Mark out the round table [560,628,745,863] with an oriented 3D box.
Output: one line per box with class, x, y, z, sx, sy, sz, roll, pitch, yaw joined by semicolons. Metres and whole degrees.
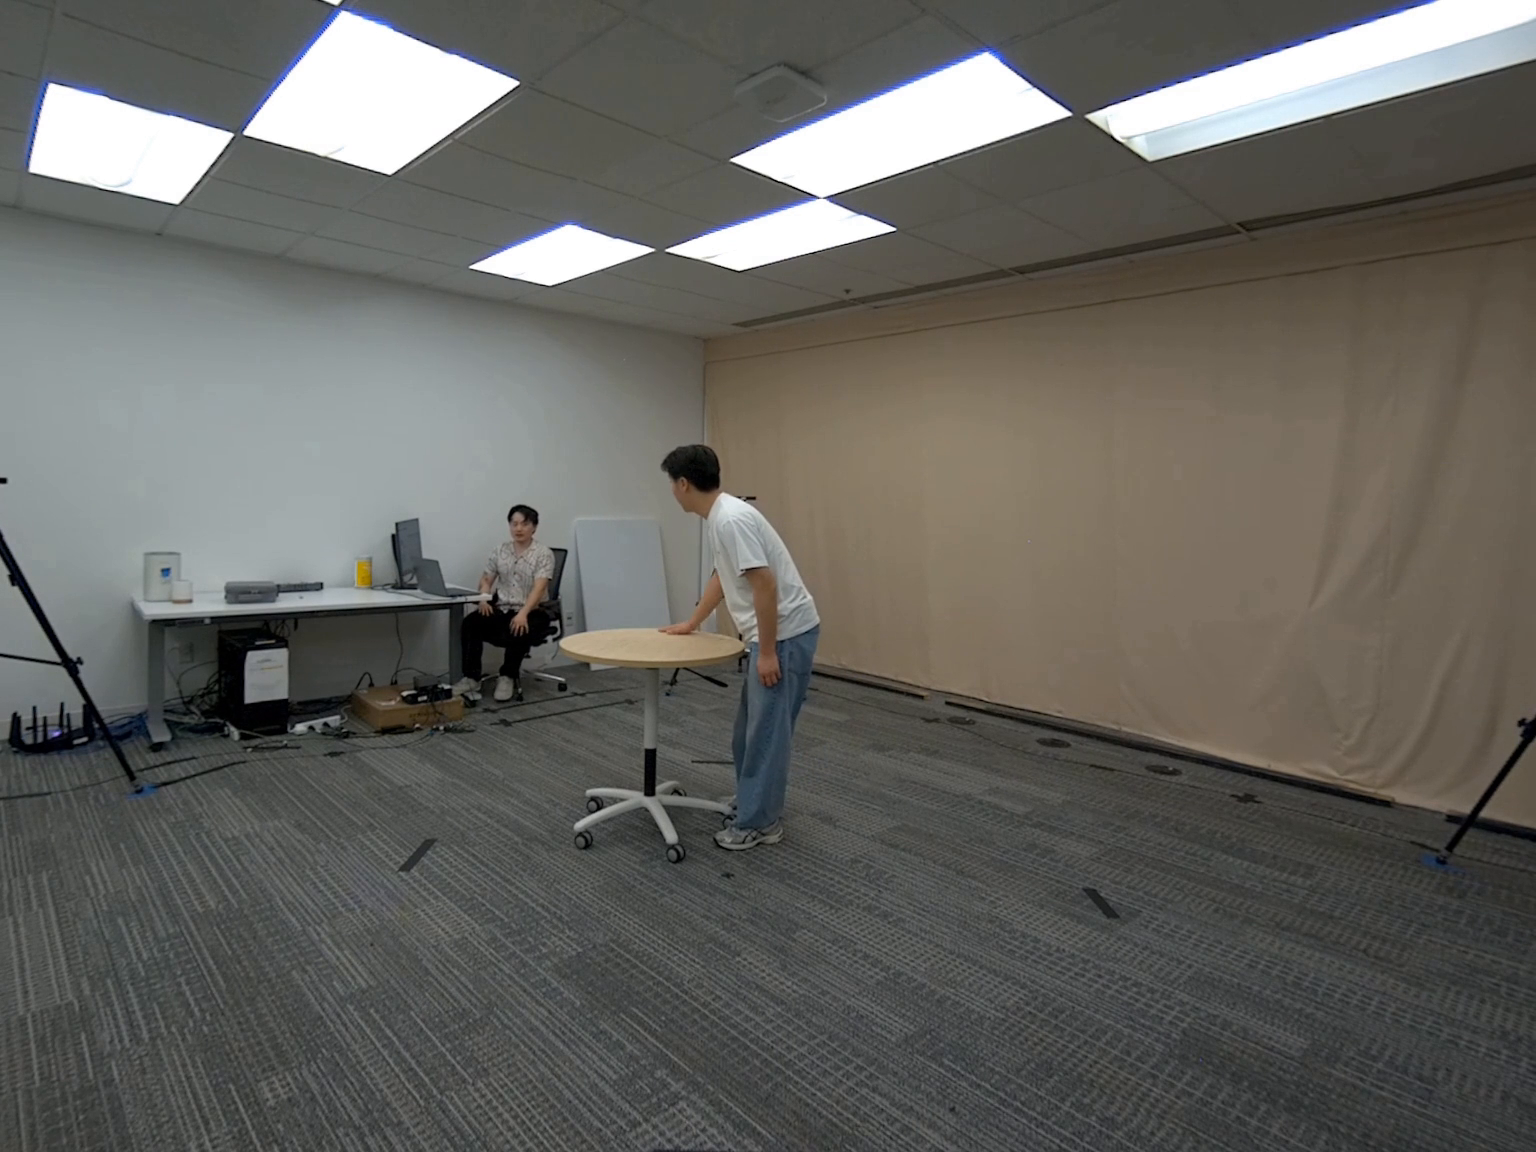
round table;-0.496;0.670;3.507;0.763;0.792;0.766;1;4;-1
